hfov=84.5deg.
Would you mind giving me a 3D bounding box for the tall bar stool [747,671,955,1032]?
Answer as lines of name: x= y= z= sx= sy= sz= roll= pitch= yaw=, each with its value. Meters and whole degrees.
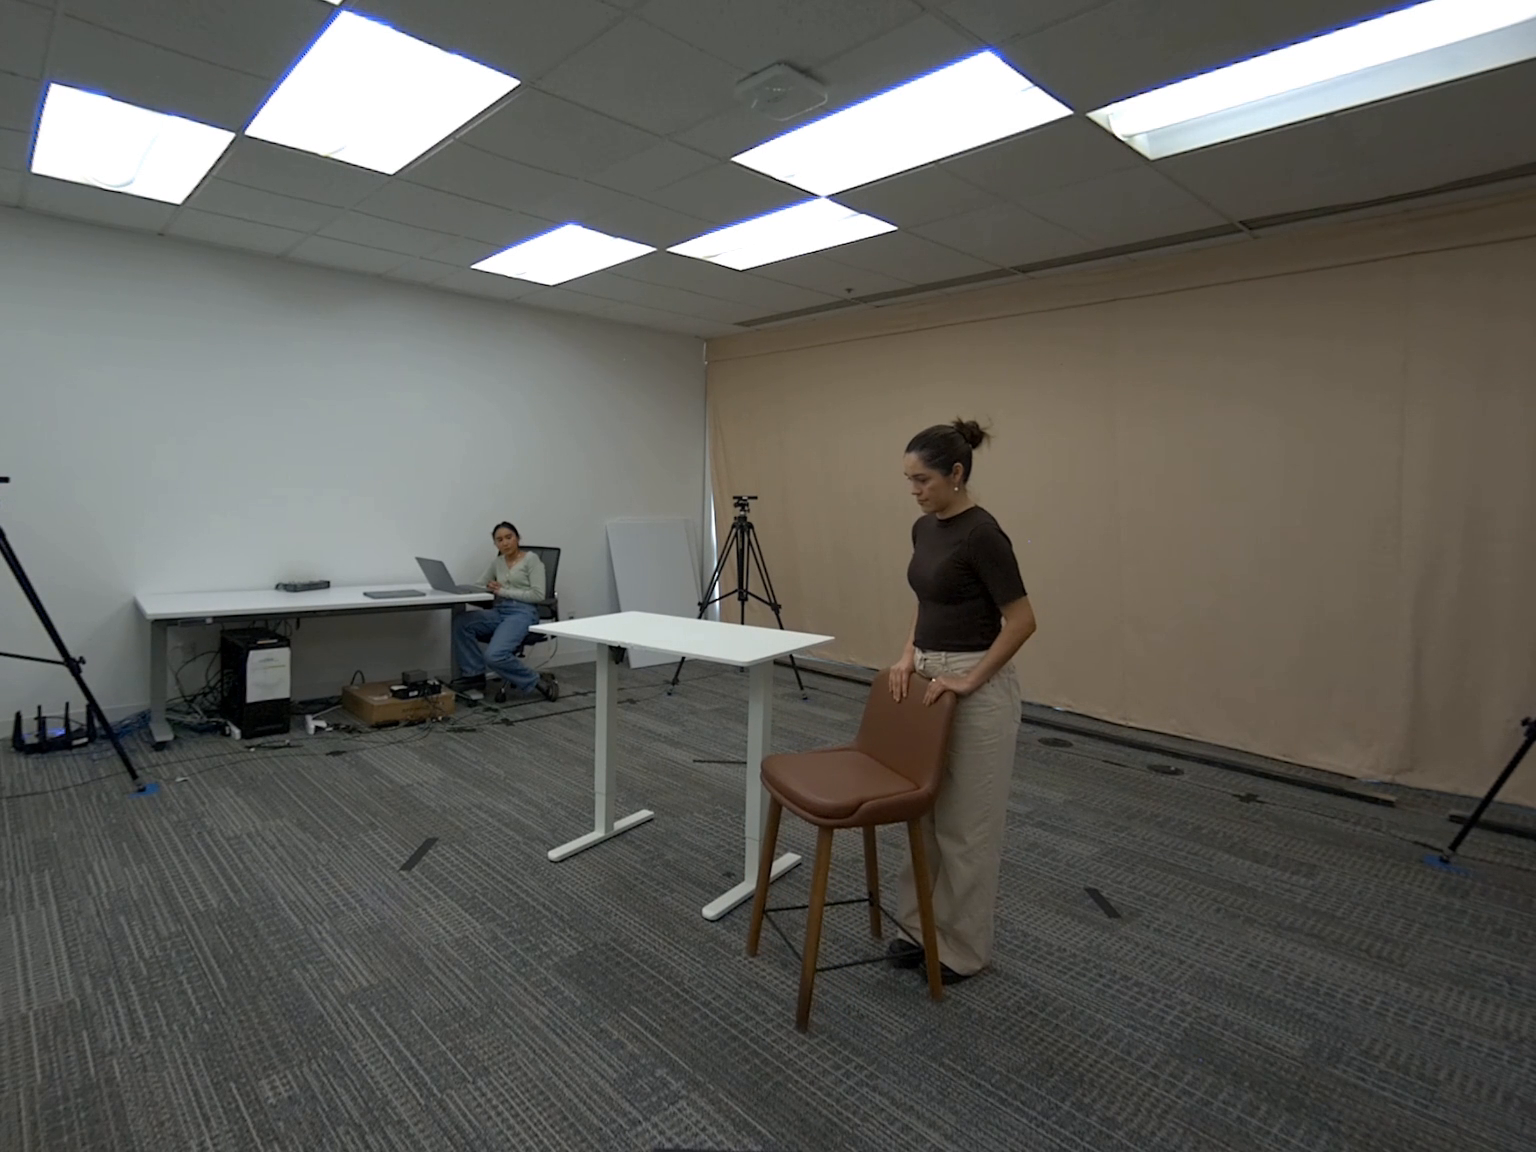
tall bar stool: x=0.233 y=0.735 z=2.426 sx=0.460 sy=0.888 sz=0.464 roll=2 pitch=3 yaw=-20
